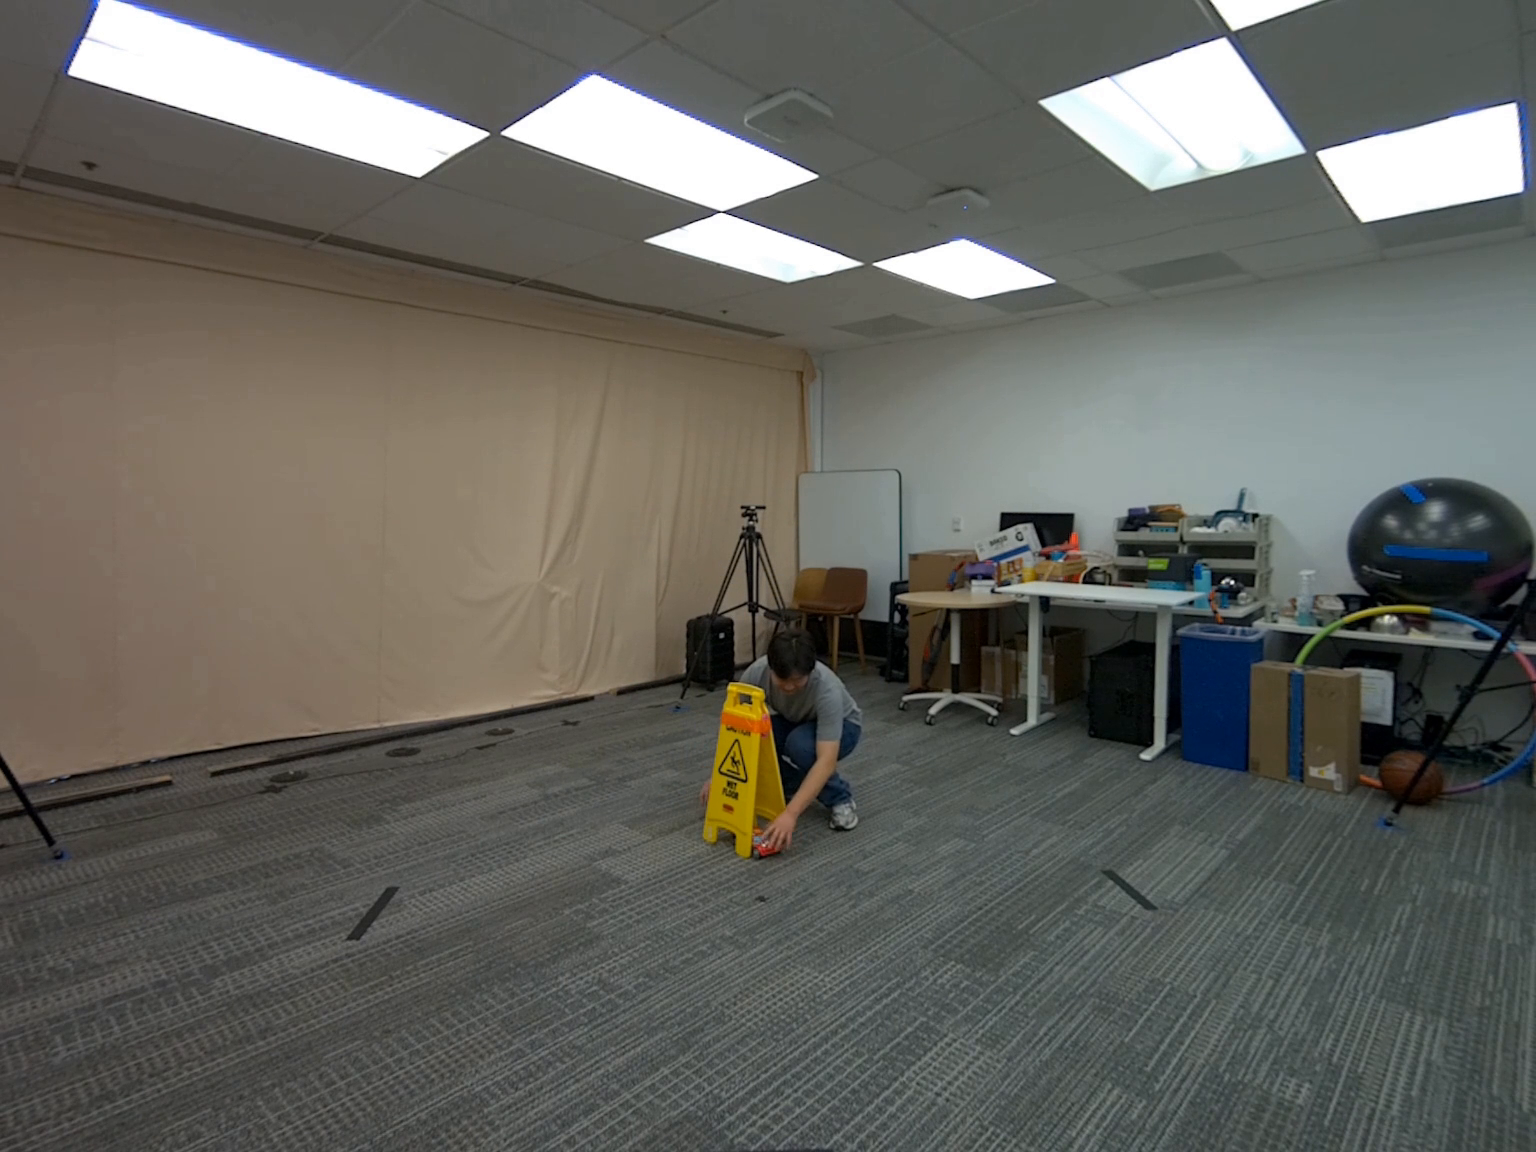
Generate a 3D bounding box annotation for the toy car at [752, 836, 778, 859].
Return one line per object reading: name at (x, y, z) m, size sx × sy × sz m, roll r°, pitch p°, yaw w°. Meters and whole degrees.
toy car at (-0.046, 1.071, 3.433) m, size 0.127 × 0.082 × 0.262 m, roll 0°, pitch 16°, yaw -25°
